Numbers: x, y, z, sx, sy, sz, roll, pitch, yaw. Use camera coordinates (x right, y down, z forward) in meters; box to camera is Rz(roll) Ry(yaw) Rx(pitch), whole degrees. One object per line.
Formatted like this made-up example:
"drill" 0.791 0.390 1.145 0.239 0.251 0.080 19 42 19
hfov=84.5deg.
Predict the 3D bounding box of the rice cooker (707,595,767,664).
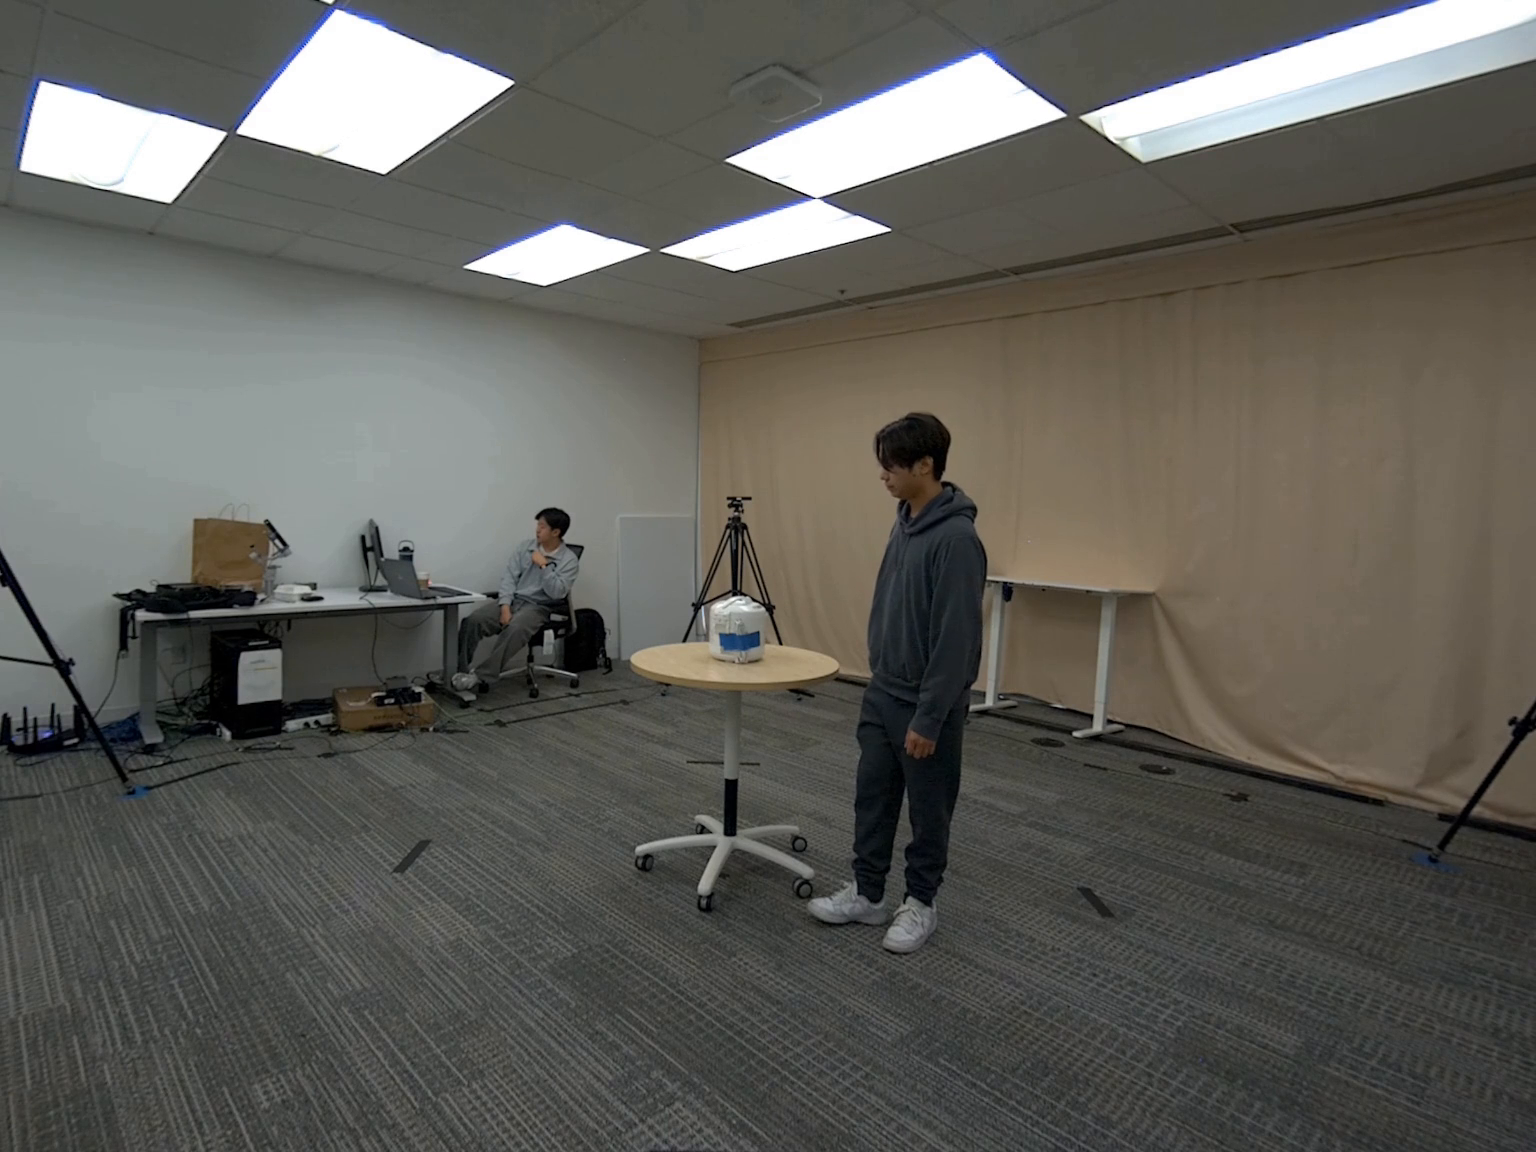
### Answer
"rice cooker" -0.119 0.189 3.120 0.223 0.232 0.216 7 6 35
